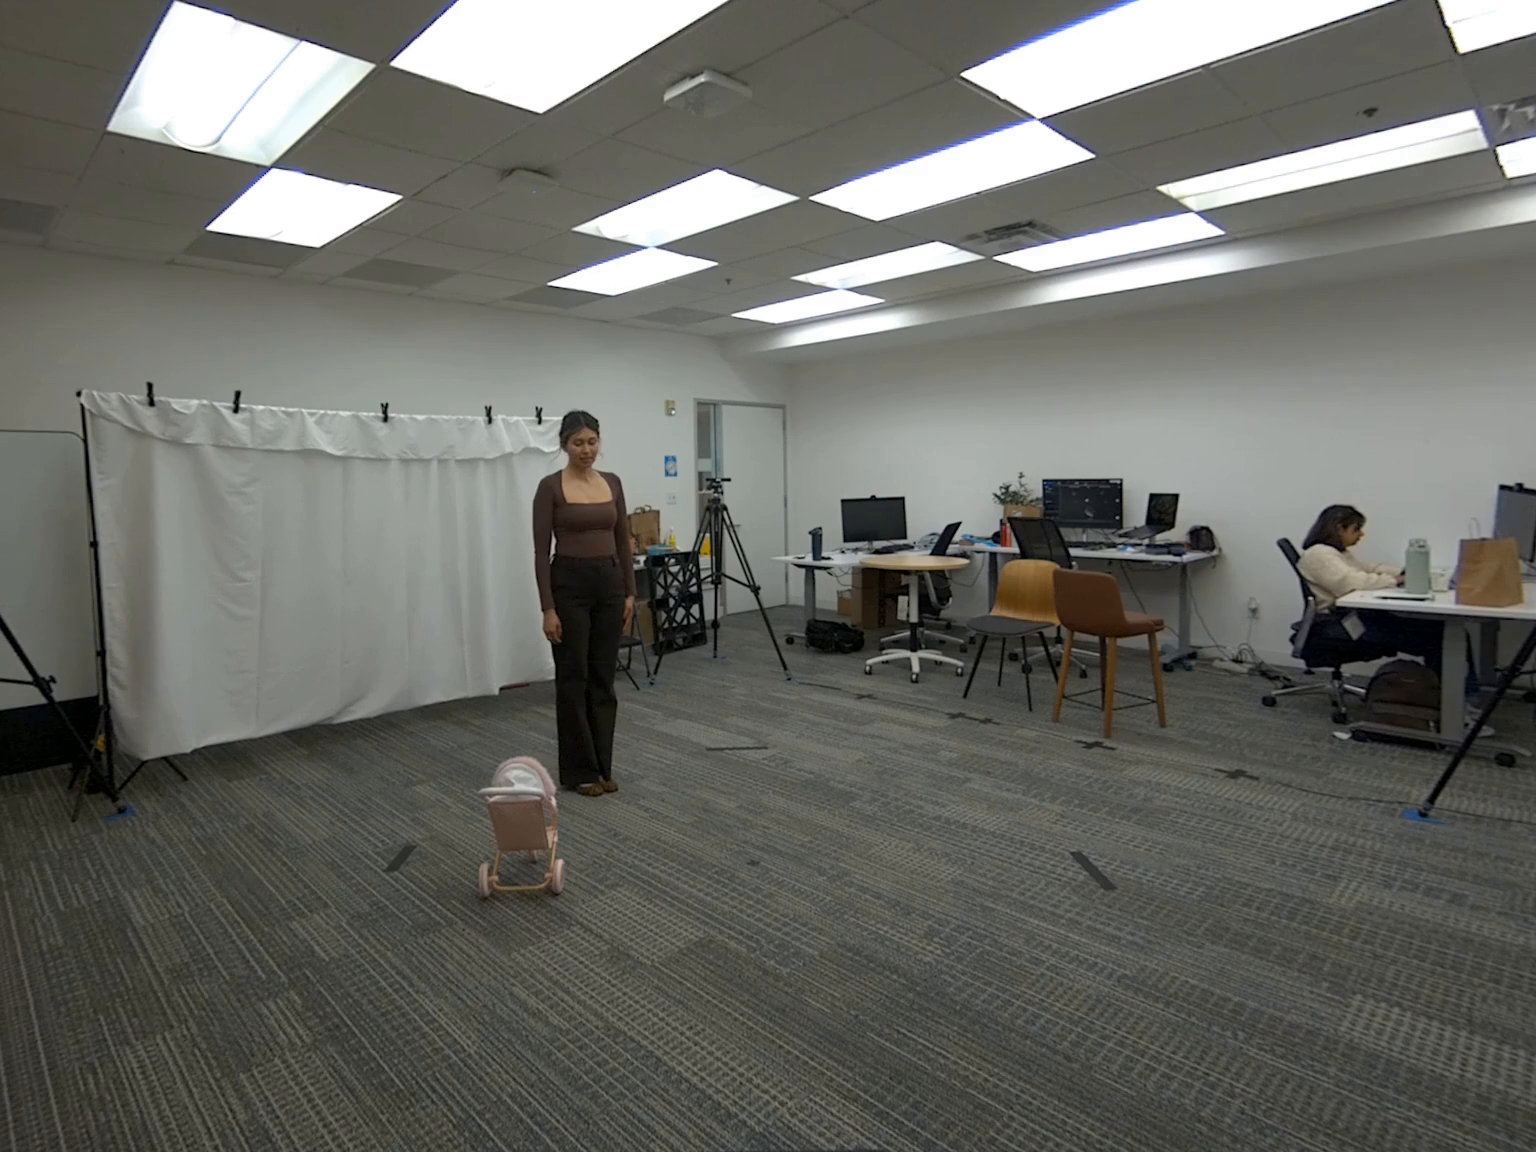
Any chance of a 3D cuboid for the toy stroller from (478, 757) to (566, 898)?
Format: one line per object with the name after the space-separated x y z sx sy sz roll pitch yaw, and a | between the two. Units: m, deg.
-0.839 0.847 2.962 0.281 0.525 0.348 0 21 -1 | toy stroller
